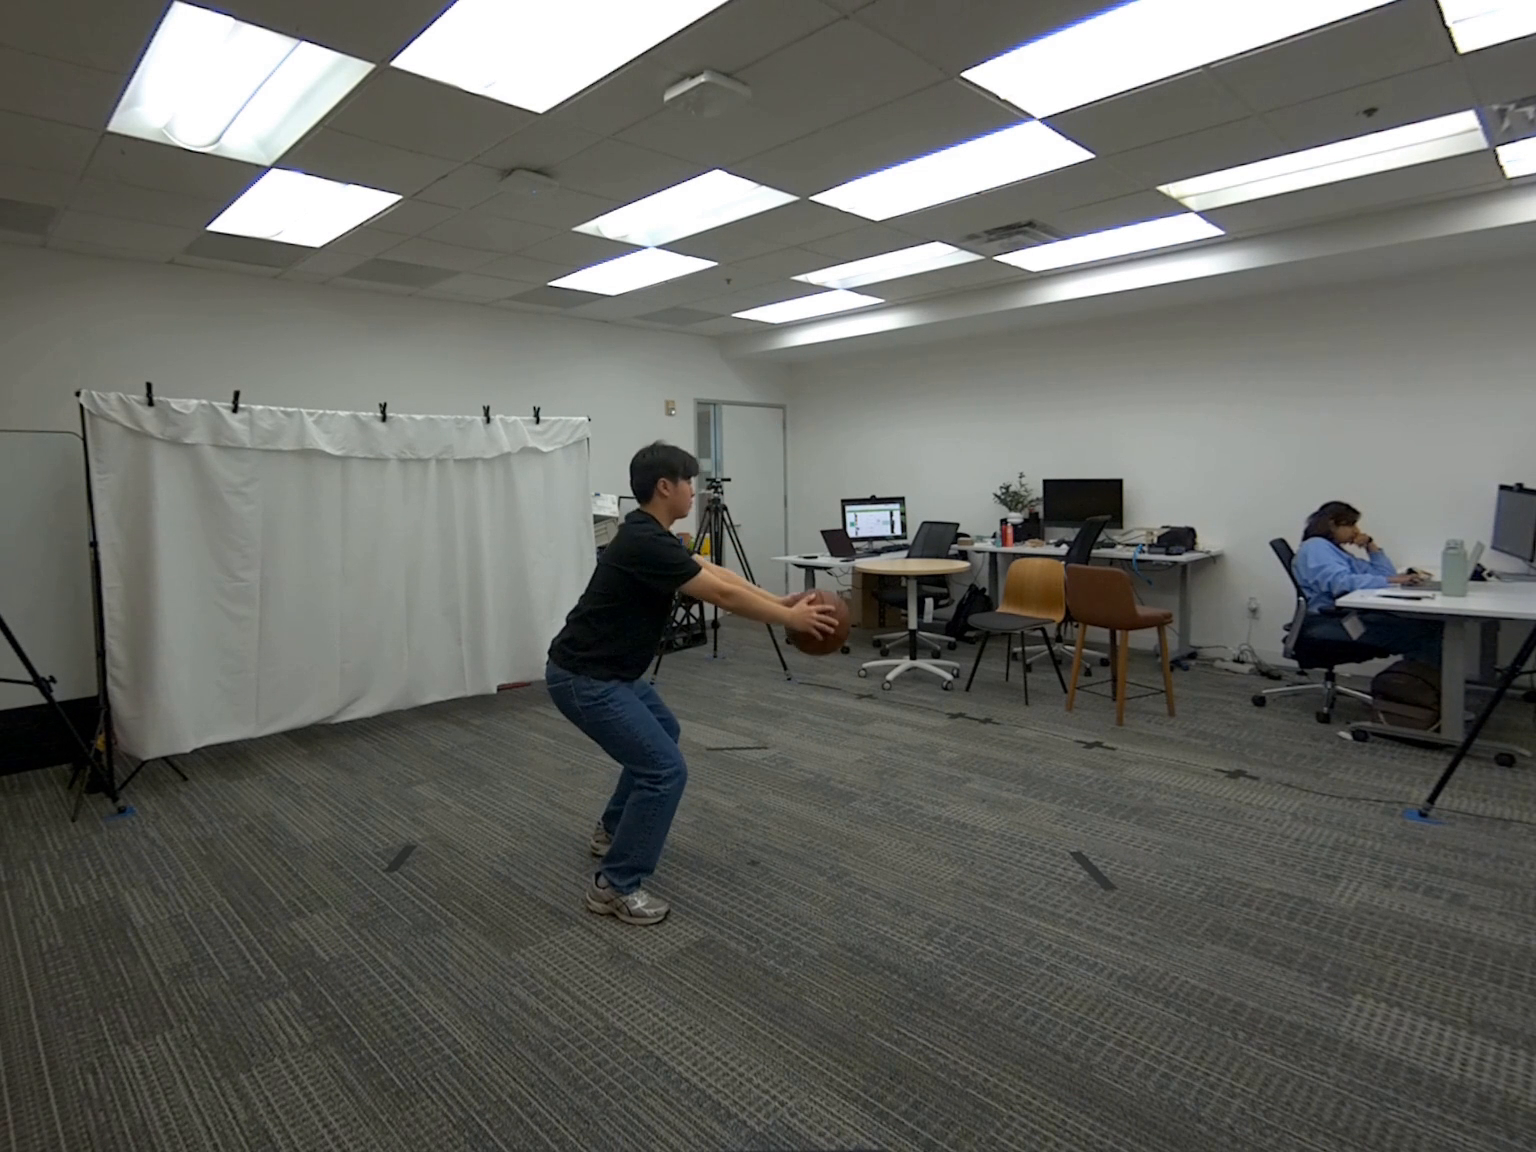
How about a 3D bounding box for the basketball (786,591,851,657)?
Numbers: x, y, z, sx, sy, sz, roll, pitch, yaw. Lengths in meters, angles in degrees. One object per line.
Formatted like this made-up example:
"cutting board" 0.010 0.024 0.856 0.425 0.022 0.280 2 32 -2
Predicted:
"basketball" 0.176 0.160 3.041 0.236 0.235 0.237 -1 5 -2
